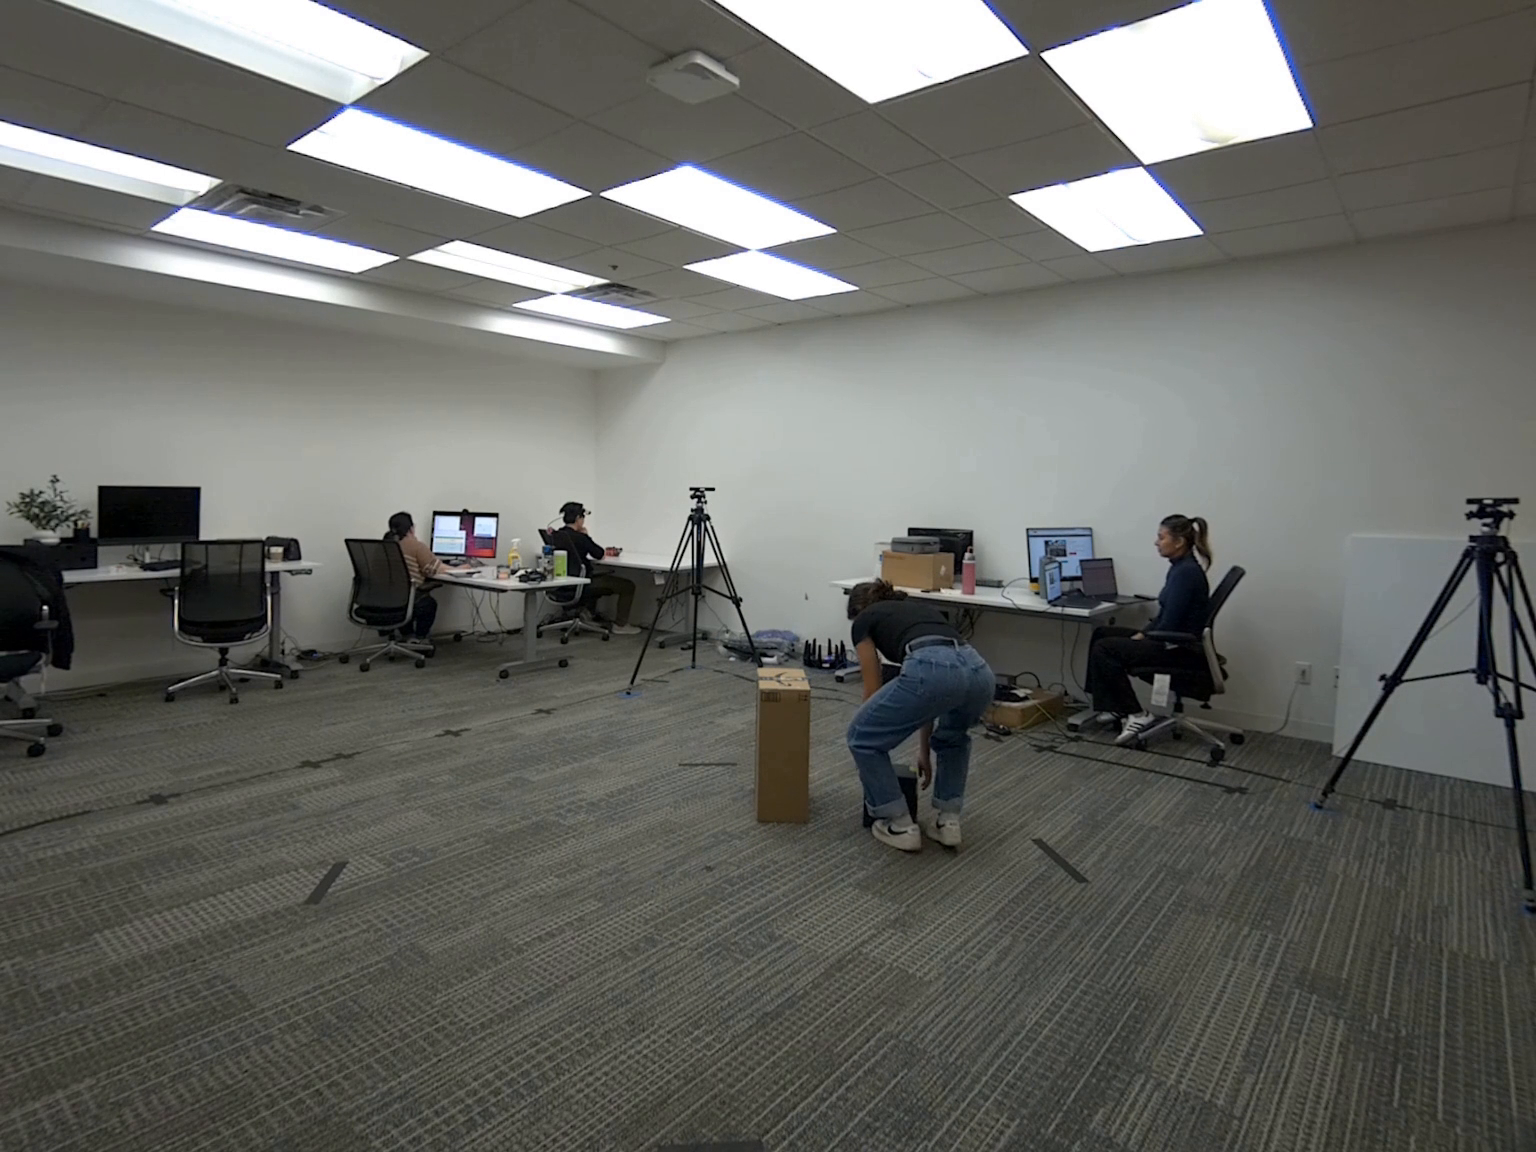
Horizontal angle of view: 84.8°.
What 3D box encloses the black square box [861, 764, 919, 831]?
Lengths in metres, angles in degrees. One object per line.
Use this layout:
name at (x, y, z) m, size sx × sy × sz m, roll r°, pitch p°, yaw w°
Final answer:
black square box at (0.507, 0.922, 3.590) m, size 0.219 × 0.227 × 0.155 m, roll 3°, pitch 4°, yaw 9°
